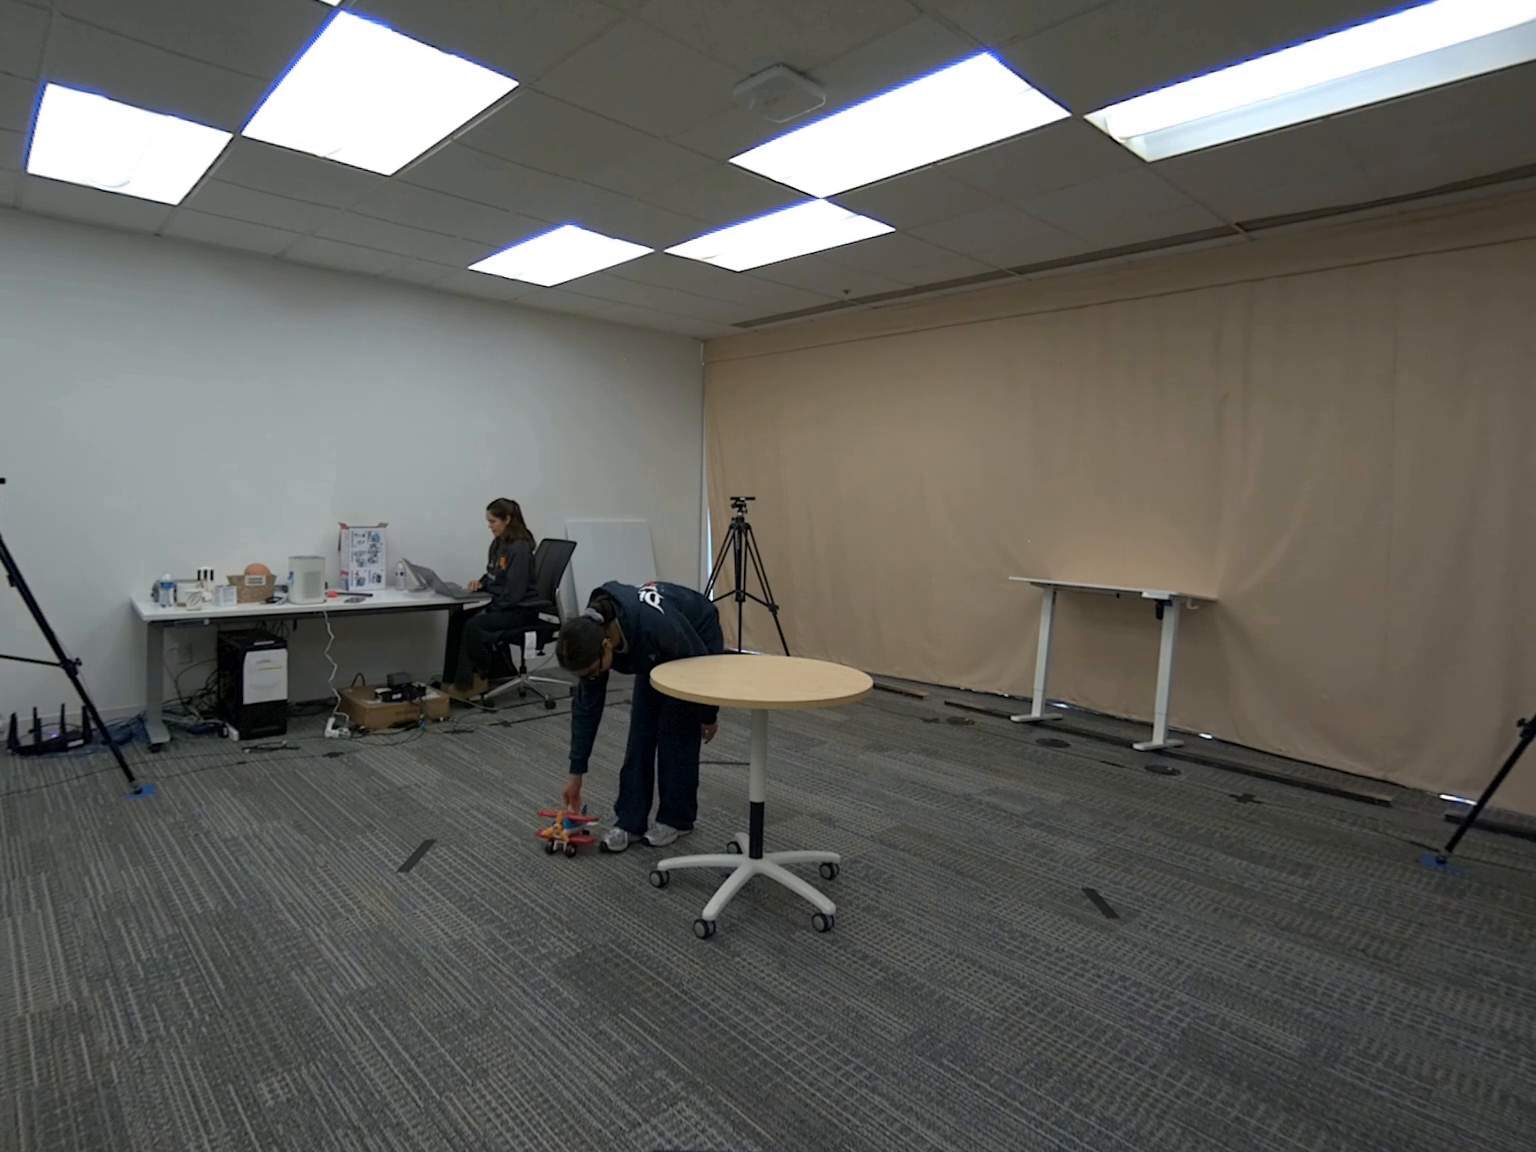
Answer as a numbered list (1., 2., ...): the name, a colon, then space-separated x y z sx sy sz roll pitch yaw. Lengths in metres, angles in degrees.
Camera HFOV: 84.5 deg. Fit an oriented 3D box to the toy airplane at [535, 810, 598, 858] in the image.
1. toy airplane: -0.802 0.996 3.325 0.248 0.156 0.263 -1 6 -15
